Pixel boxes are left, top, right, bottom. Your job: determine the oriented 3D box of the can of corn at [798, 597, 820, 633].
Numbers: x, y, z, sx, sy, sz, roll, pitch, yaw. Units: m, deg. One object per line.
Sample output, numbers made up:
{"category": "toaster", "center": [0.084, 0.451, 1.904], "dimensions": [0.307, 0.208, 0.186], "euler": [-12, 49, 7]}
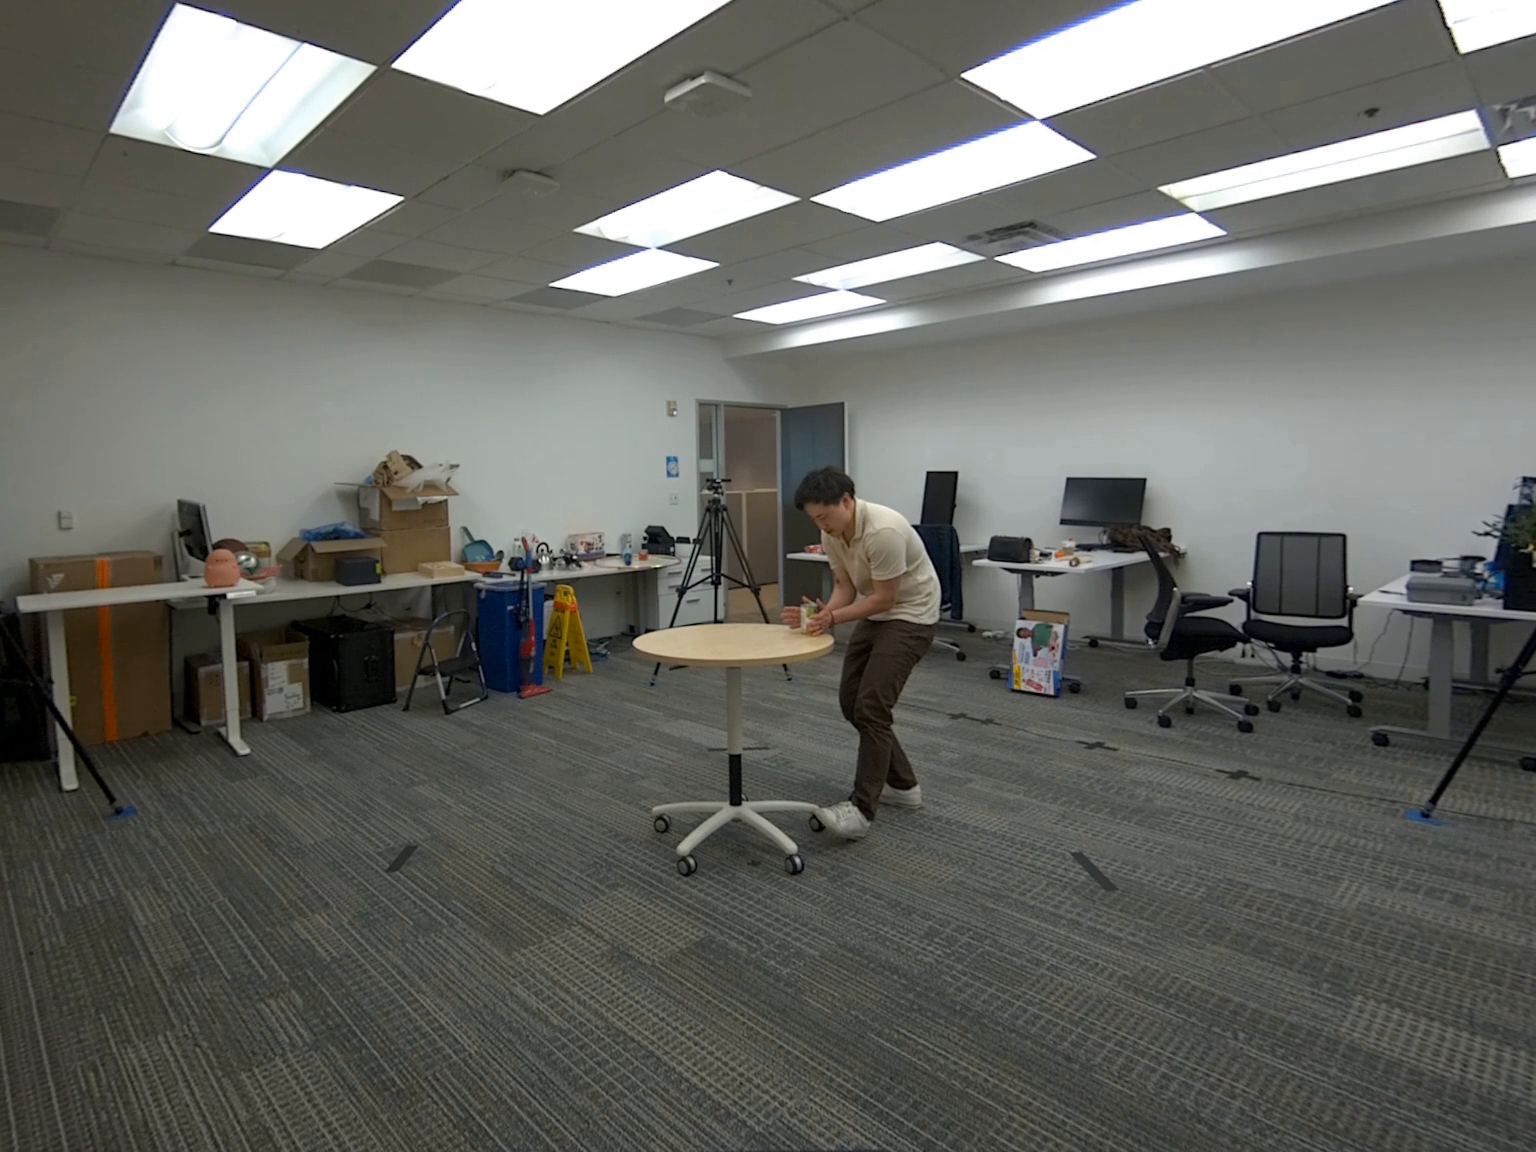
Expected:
{"category": "can of corn", "center": [0.167, 0.175, 3.381], "dimensions": [0.074, 0.111, 0.074], "euler": [2, -1, -2]}
